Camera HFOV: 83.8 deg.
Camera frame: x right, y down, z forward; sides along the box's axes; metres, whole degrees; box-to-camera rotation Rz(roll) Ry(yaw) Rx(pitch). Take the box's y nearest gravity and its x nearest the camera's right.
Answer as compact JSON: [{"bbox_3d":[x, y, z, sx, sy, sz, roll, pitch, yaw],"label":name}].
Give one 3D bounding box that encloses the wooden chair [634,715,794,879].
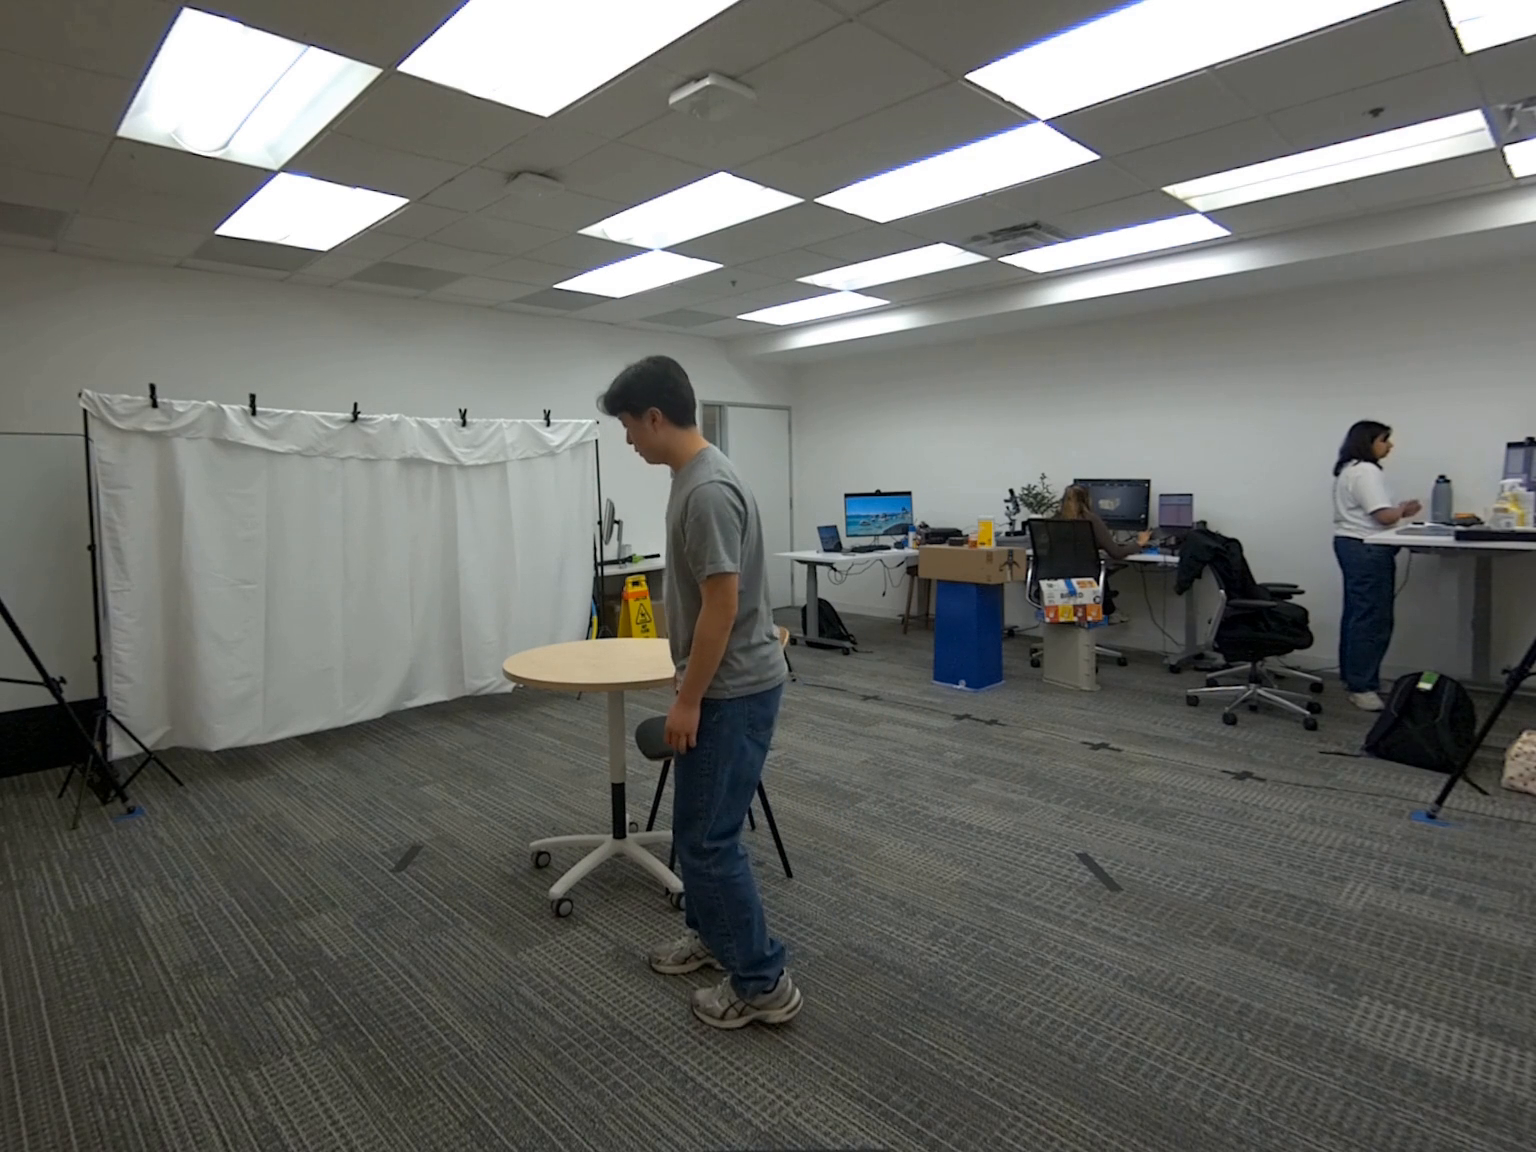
[{"bbox_3d":[-0.206,0.621,3.112,0.515,0.875,0.487,2,3,-17],"label":"wooden chair"}]
